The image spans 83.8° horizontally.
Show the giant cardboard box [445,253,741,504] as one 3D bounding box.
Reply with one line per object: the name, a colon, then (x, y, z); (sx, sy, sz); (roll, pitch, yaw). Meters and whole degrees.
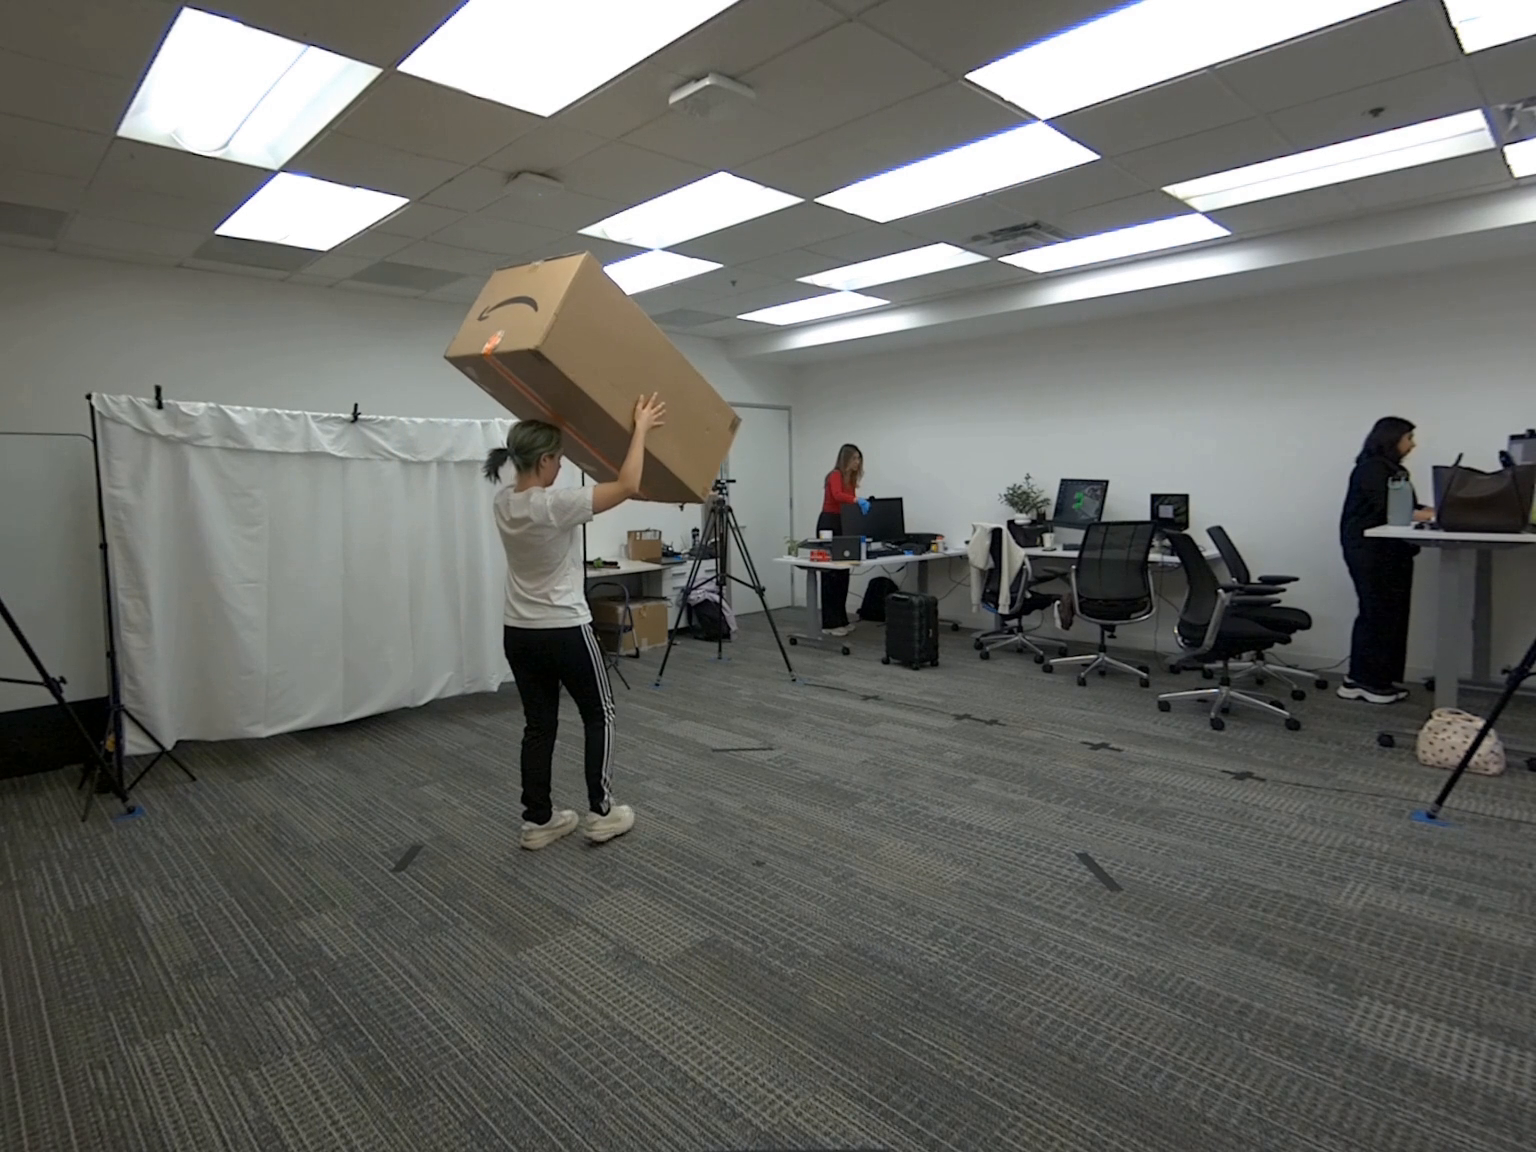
giant cardboard box: (-0.658, -0.734, 3.421); (0.602, 0.451, 0.987); (6, -25, 39)
